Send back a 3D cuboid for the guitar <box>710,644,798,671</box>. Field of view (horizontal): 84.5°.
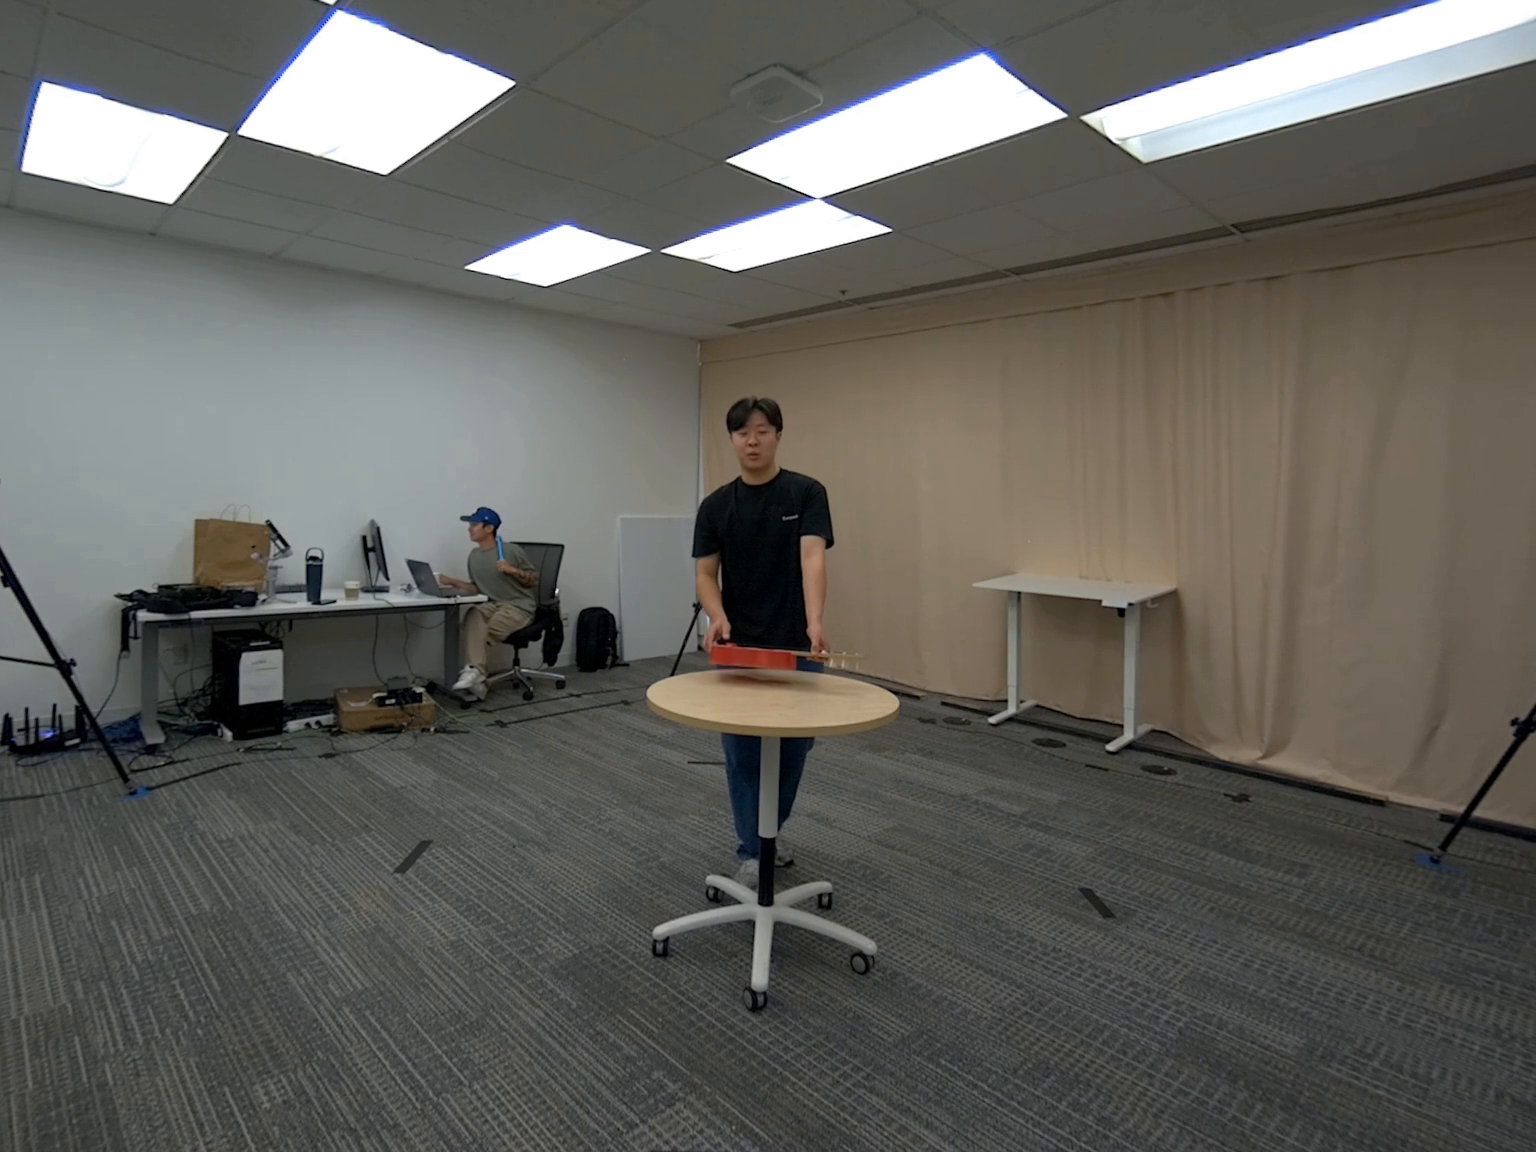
[{"bbox_3d":[0.052,0.270,2.680,0.508,0.071,0.188,0,-4,30],"label":"guitar"}]
